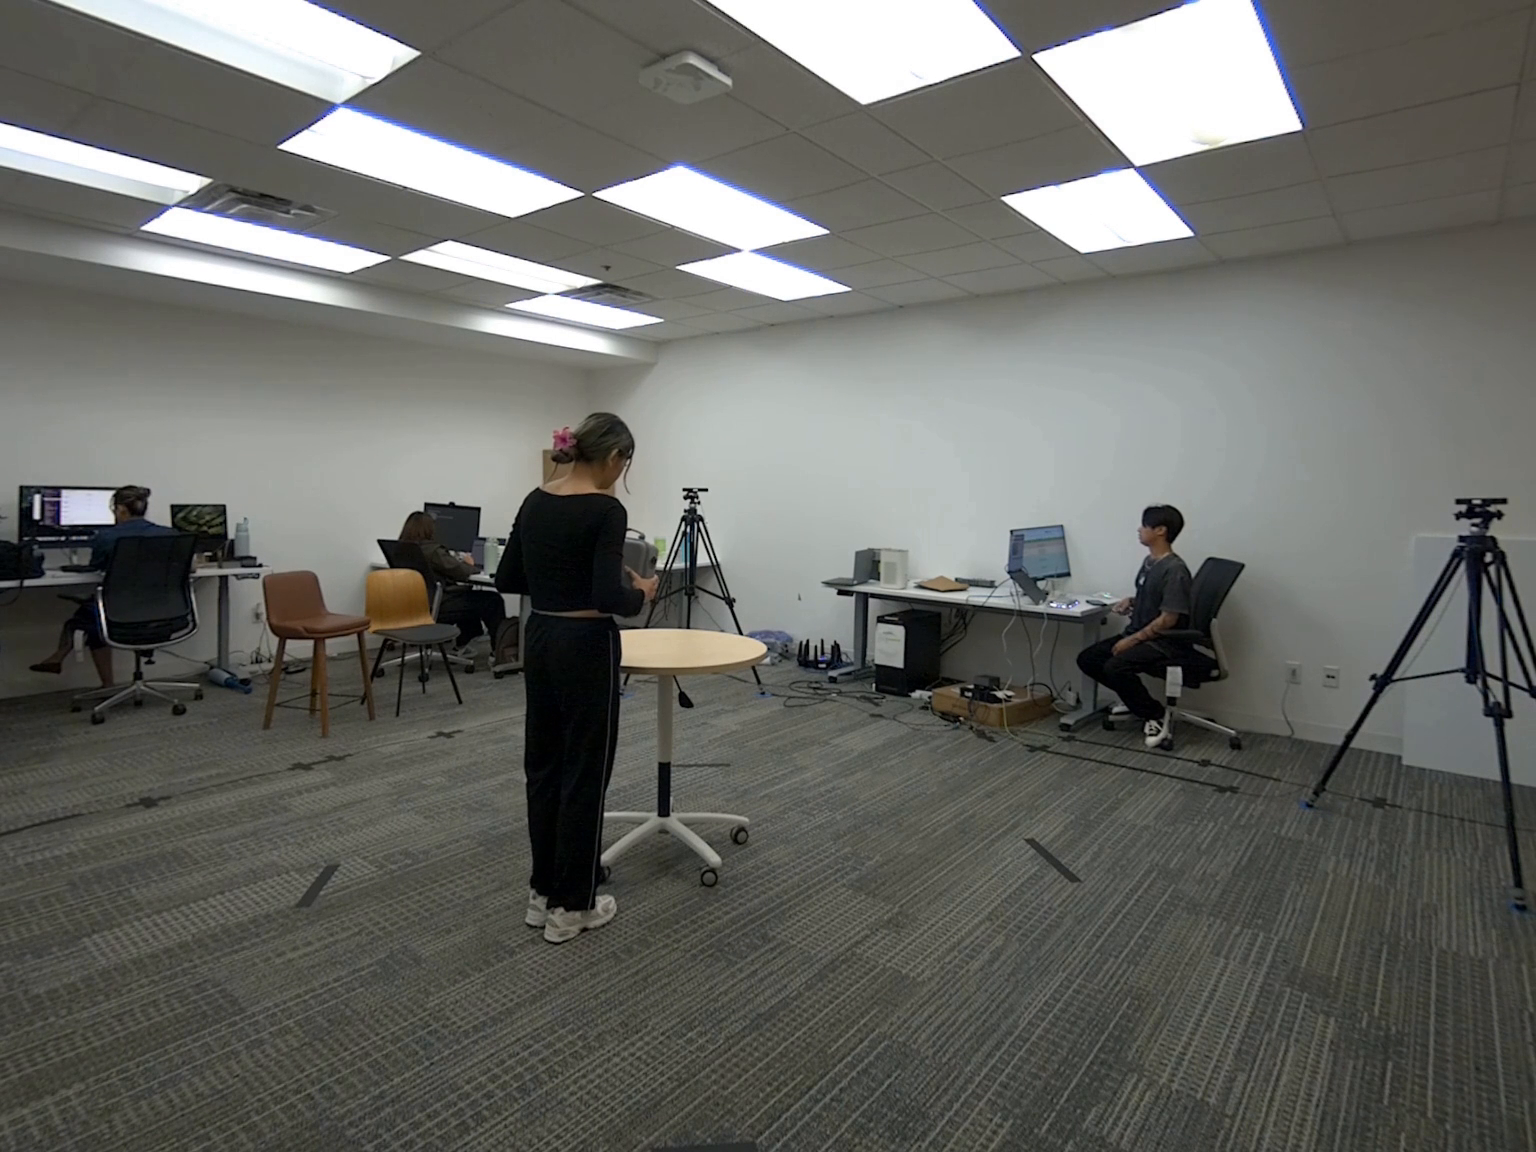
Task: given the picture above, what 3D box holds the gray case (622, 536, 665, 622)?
[{"bbox_3d":[-0.514,-0.006,2.856,0.265,0.261,0.100,10,-5,32],"label":"gray case"}]
